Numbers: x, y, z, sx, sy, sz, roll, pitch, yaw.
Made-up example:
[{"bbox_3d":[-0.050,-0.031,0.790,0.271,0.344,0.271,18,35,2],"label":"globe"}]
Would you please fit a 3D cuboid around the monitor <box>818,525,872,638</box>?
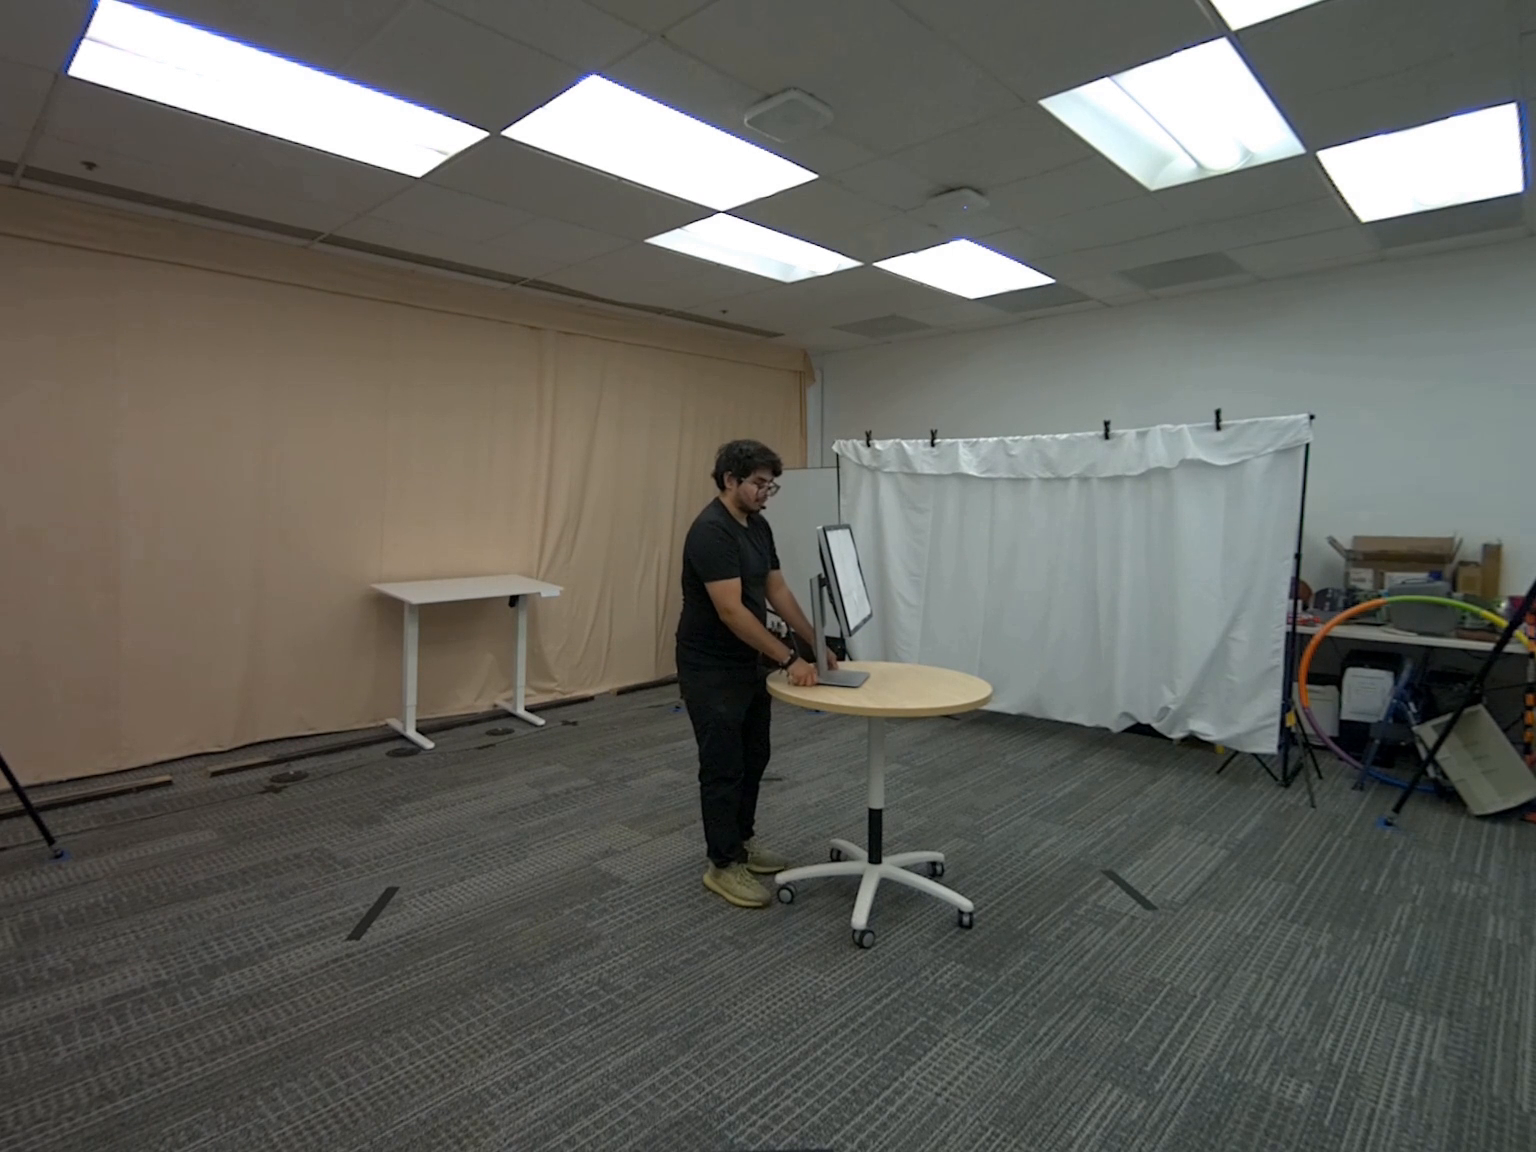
[{"bbox_3d":[0.223,0.099,2.960,0.214,0.553,0.556,-6,2,16],"label":"monitor"}]
